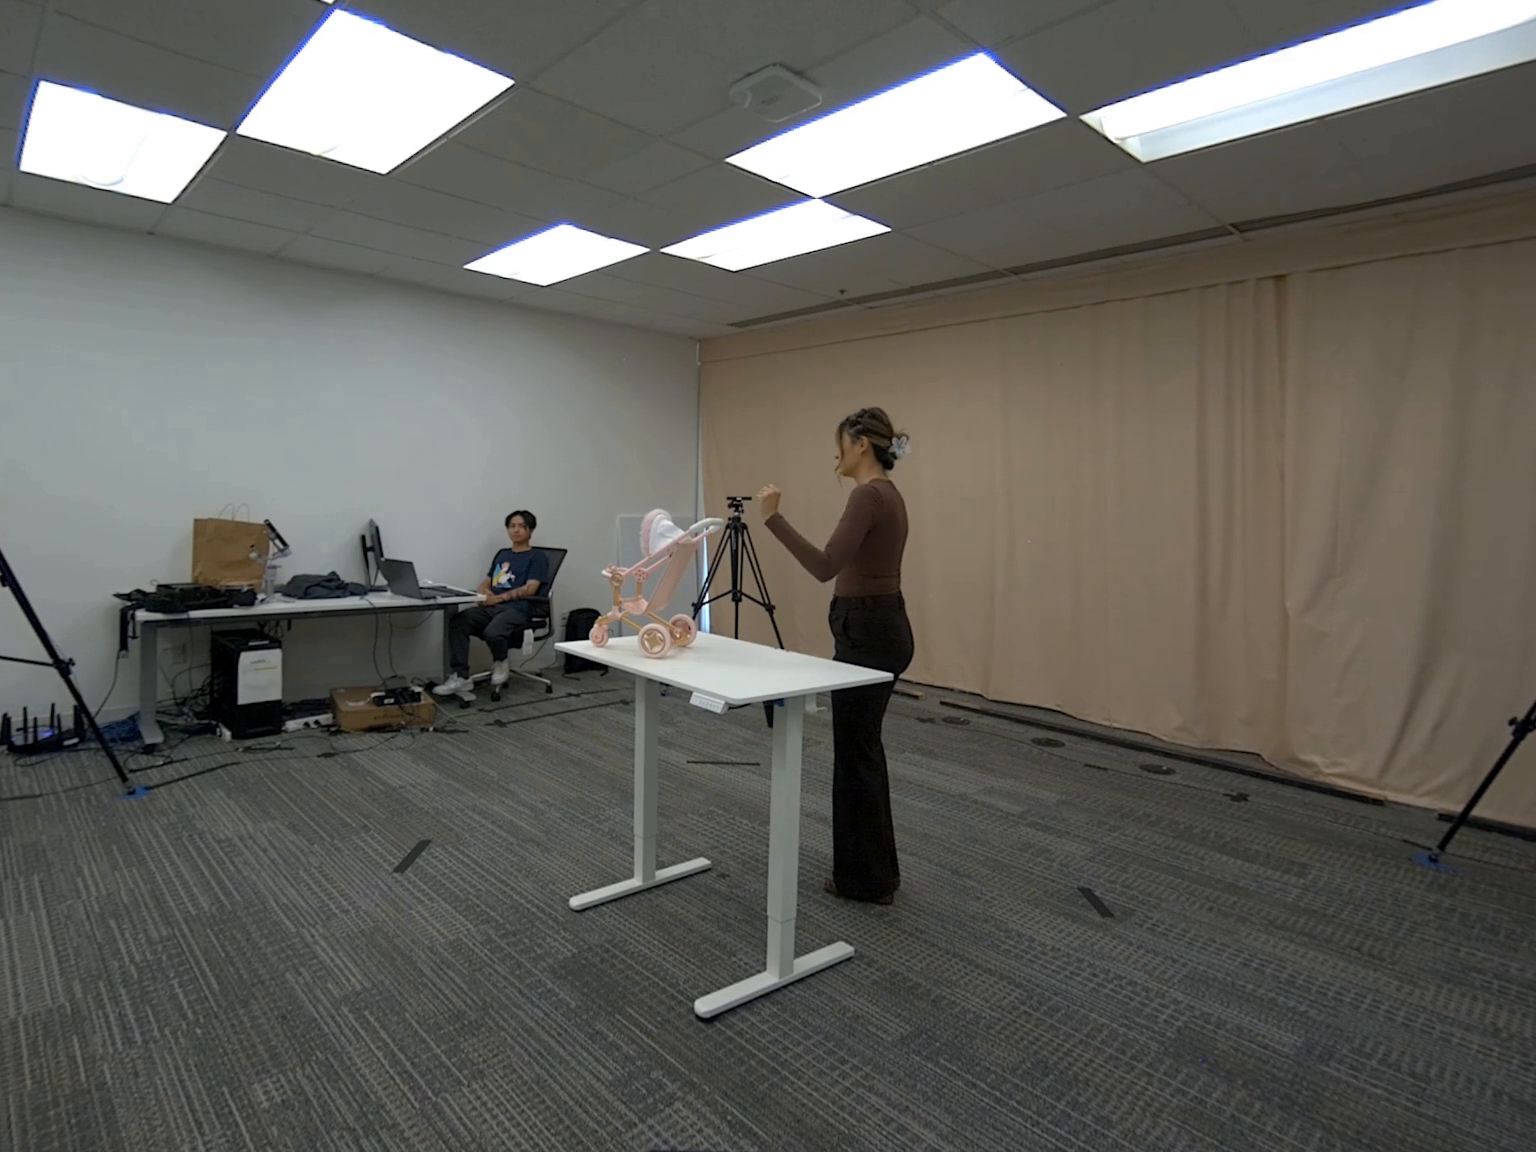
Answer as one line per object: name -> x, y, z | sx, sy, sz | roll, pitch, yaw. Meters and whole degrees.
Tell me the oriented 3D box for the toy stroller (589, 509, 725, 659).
toy stroller -> -0.391, 0.026, 2.773 | 0.348, 0.533, 0.277 | 18, 8, 20
